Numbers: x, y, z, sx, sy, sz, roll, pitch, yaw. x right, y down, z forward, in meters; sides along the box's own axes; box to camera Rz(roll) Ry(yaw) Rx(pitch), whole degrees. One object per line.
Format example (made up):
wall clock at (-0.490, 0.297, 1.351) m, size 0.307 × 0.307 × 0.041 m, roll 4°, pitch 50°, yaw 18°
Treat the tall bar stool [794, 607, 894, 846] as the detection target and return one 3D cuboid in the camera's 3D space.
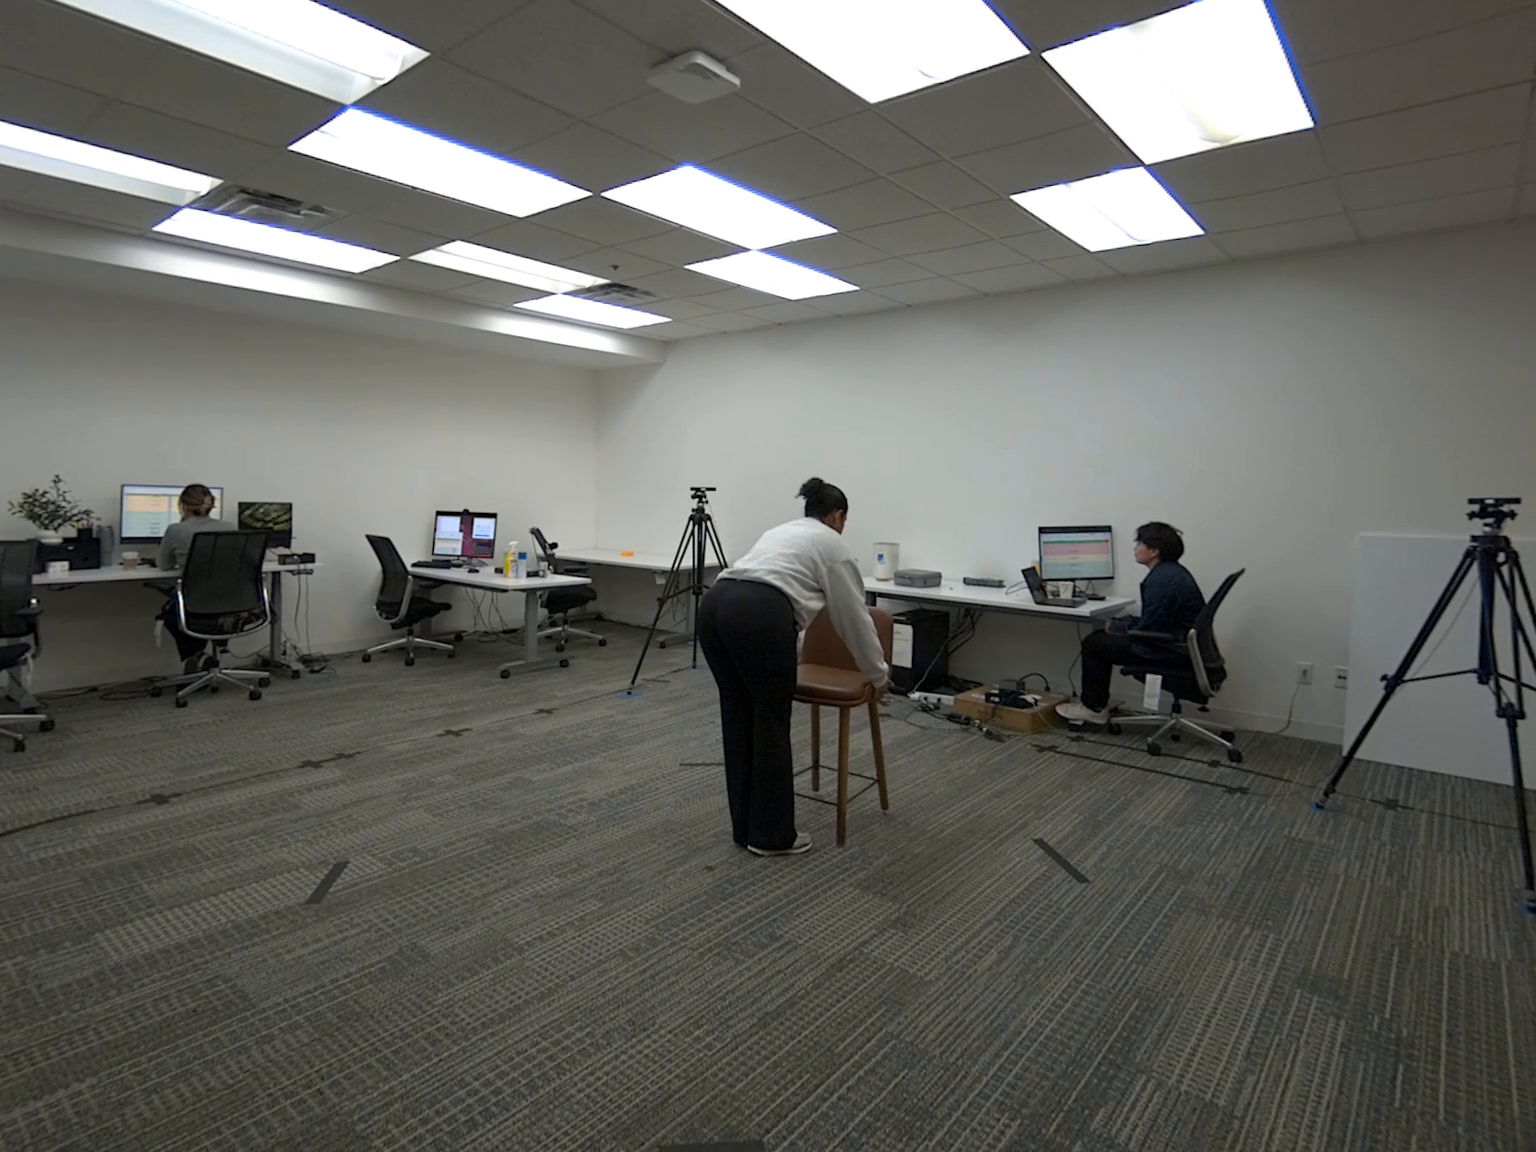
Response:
tall bar stool at (0.248, 0.580, 3.593) m, size 0.471 × 0.887 × 0.454 m, roll 4°, pitch 4°, yaw 35°
